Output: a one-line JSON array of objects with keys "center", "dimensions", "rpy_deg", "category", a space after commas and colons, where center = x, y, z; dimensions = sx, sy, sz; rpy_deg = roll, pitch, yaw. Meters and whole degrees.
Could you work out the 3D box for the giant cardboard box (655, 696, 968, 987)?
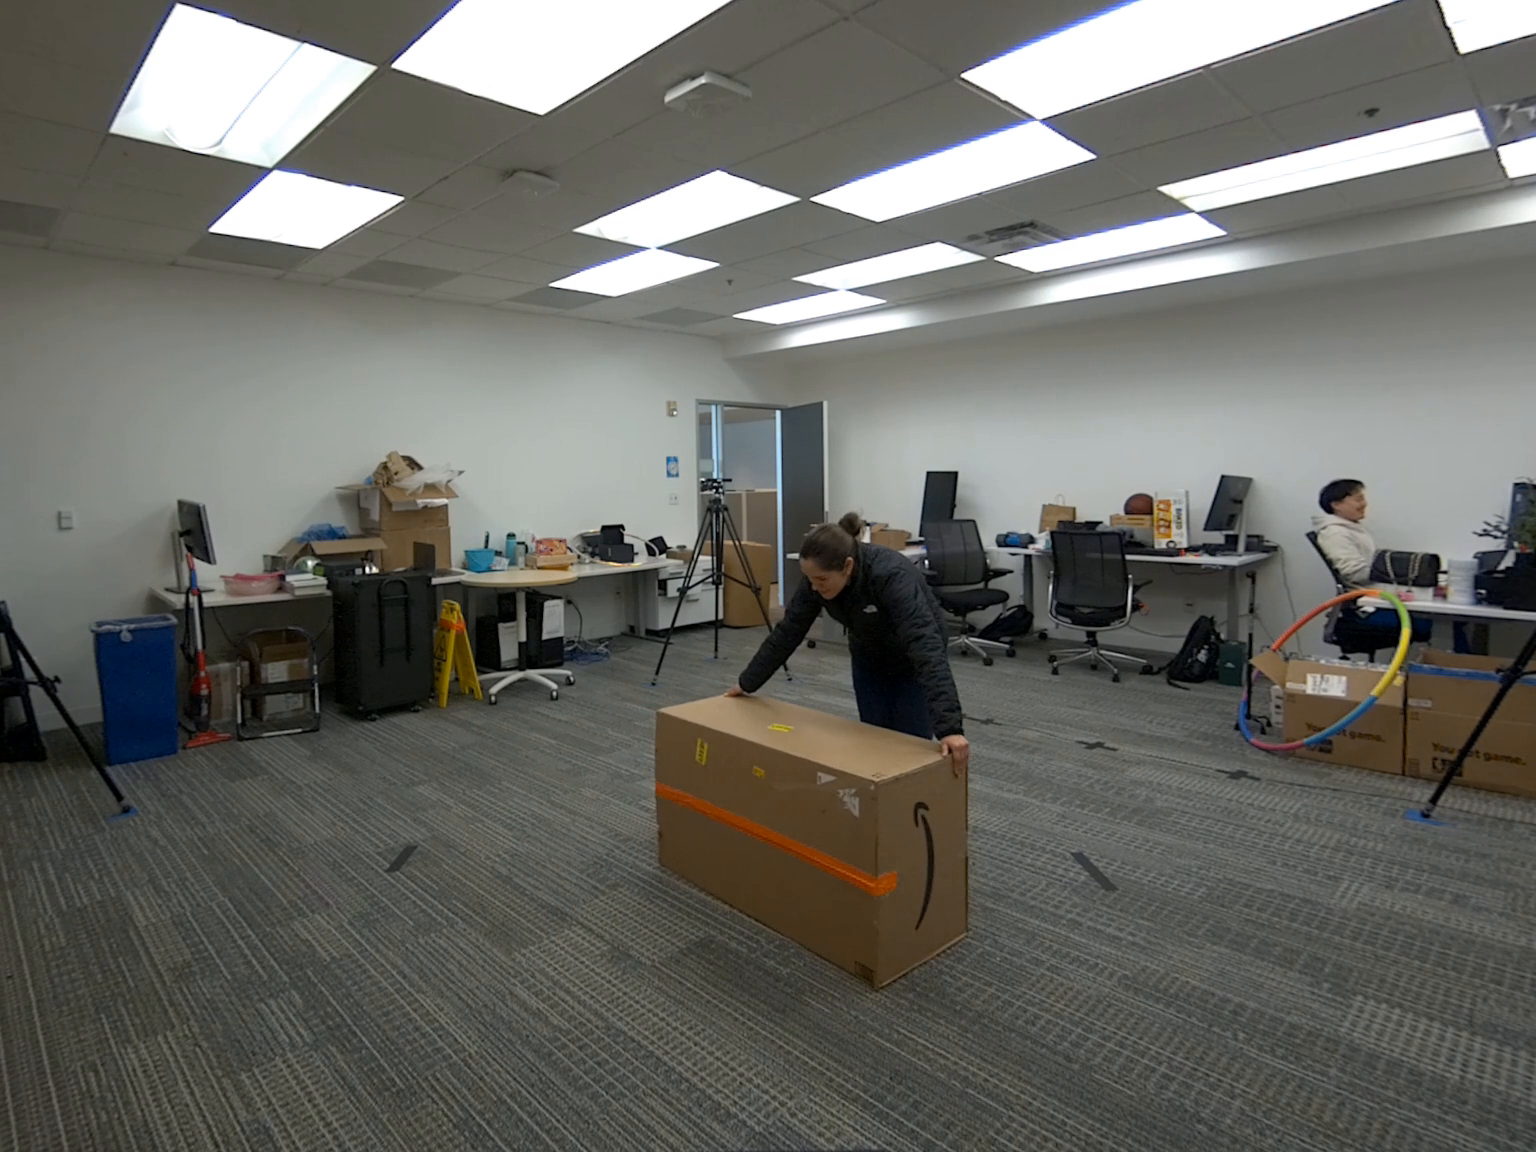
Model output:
[{"center": [0.090, 0.786, 2.834], "dimensions": [0.435, 0.581, 1.059], "rpy_deg": [-6, 7, -42], "category": "giant cardboard box"}]
